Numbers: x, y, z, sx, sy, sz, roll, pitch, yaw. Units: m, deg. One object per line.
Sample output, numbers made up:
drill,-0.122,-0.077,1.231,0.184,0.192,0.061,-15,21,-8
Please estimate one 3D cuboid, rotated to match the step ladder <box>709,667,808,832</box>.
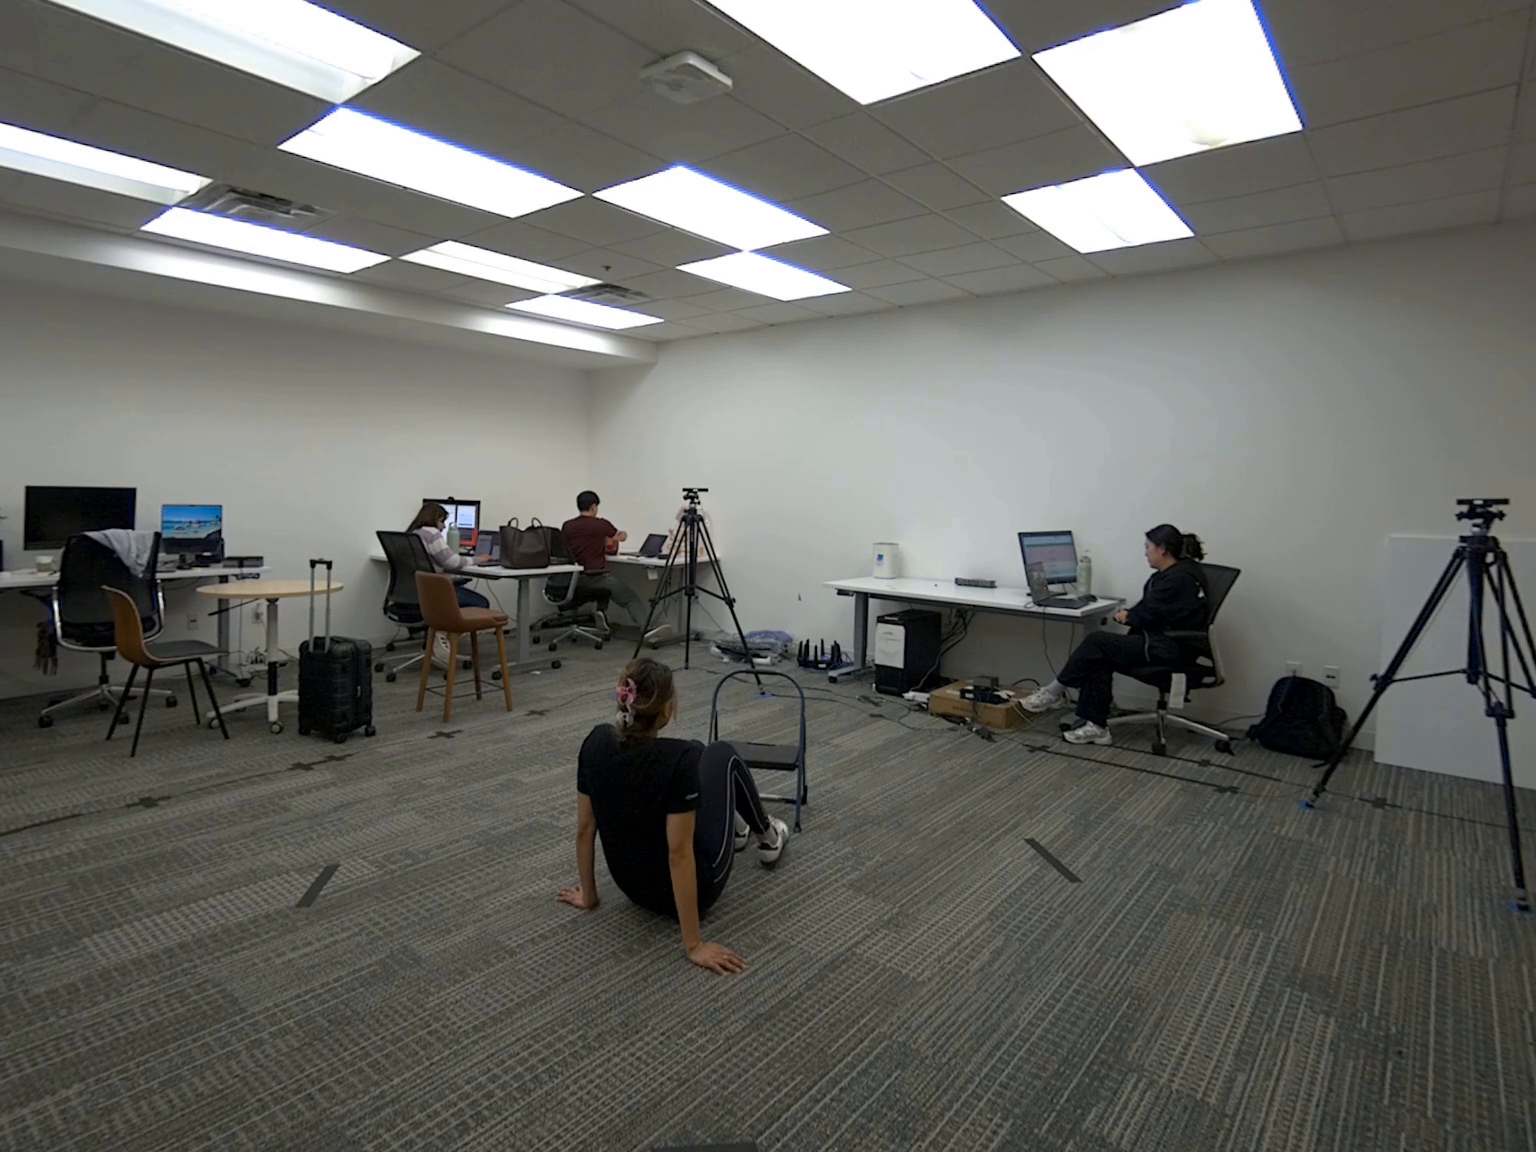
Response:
step ladder,-0.051,0.716,3.662,0.436,0.604,0.346,2,4,10
